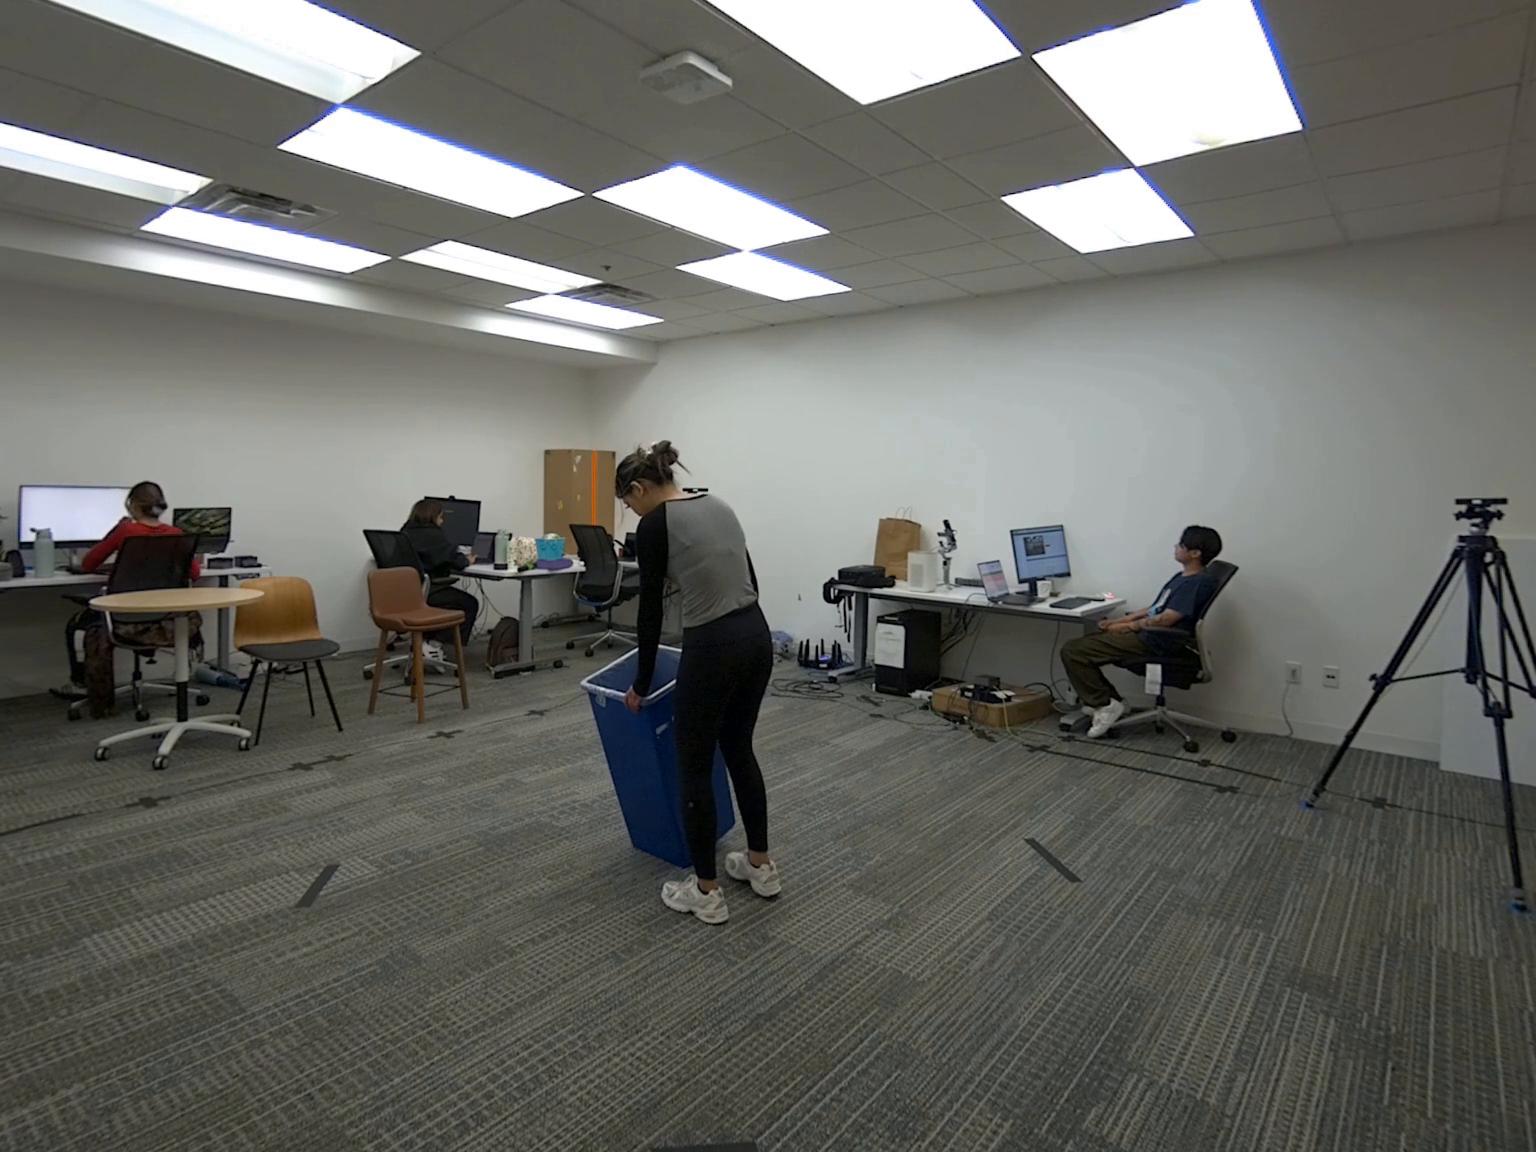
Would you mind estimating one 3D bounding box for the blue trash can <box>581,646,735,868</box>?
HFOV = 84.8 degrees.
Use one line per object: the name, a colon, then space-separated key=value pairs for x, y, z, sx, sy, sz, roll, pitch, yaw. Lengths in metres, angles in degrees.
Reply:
blue trash can: x=-0.399 y=0.668 z=3.213 sx=0.391 sy=0.701 sz=0.368 roll=5 pitch=22 yaw=41
